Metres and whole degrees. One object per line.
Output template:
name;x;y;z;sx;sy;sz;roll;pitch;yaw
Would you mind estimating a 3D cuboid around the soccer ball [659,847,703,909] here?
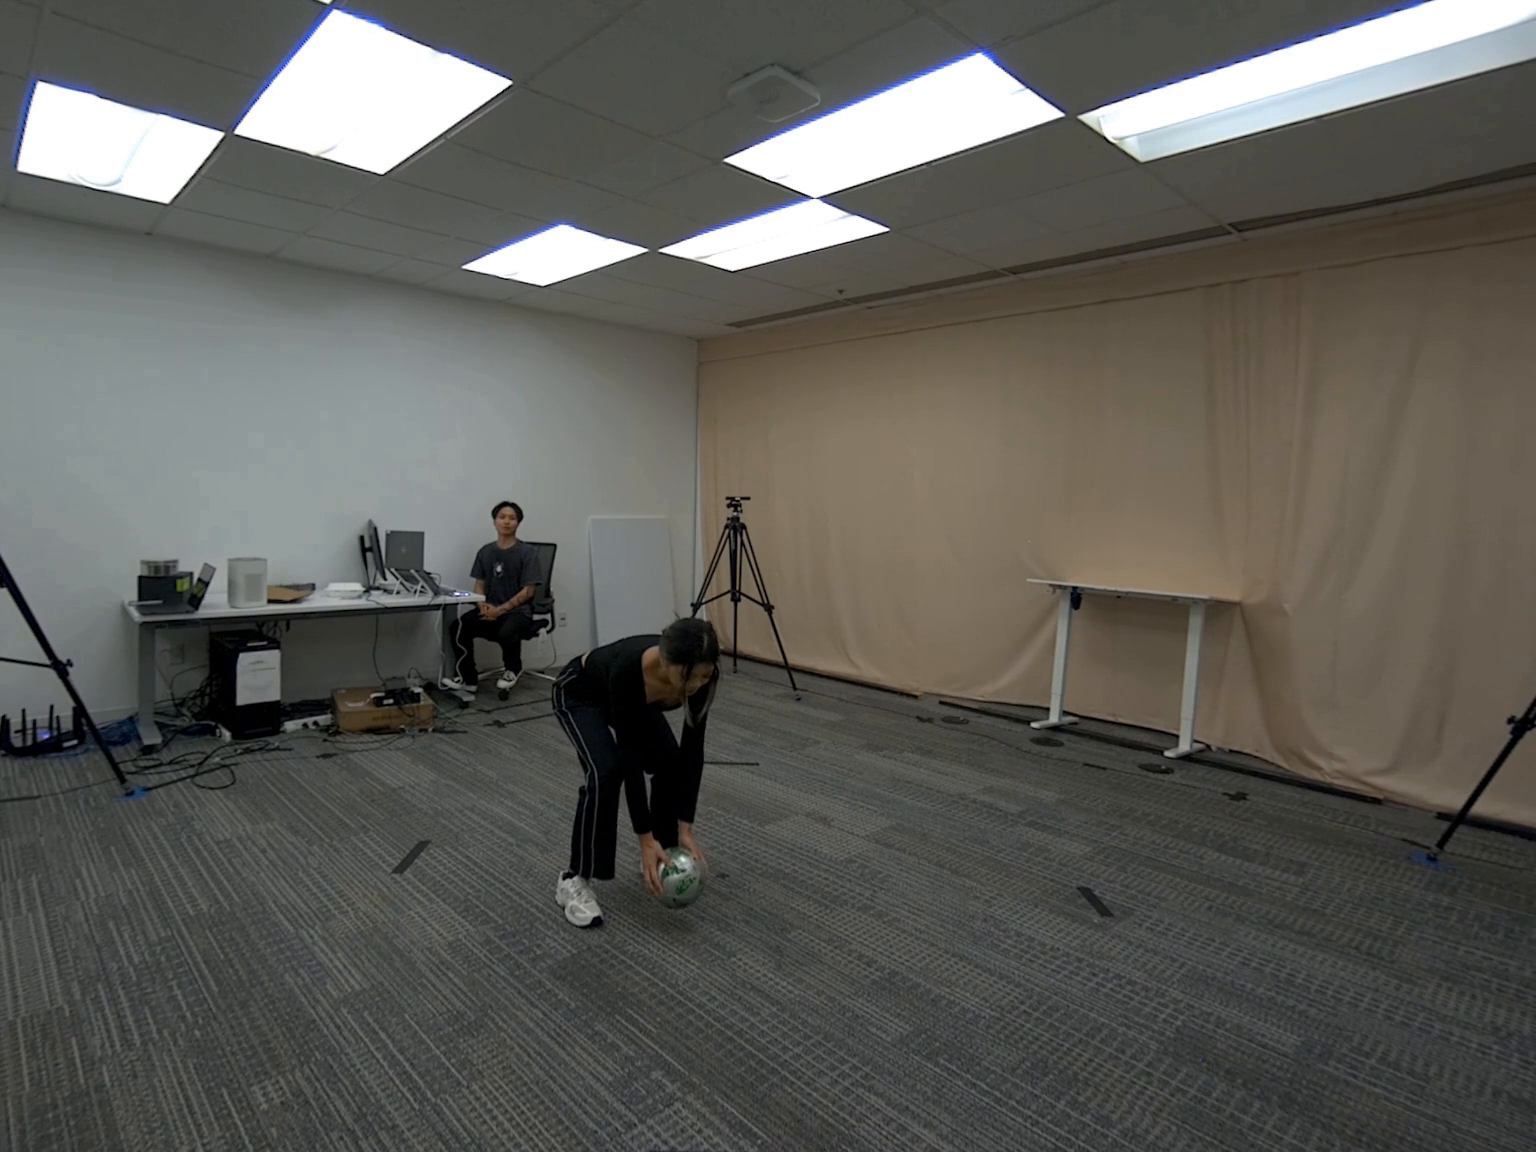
soccer ball;-0.317;0.976;2.719;0.187;0.187;0.188;1;4;-1
